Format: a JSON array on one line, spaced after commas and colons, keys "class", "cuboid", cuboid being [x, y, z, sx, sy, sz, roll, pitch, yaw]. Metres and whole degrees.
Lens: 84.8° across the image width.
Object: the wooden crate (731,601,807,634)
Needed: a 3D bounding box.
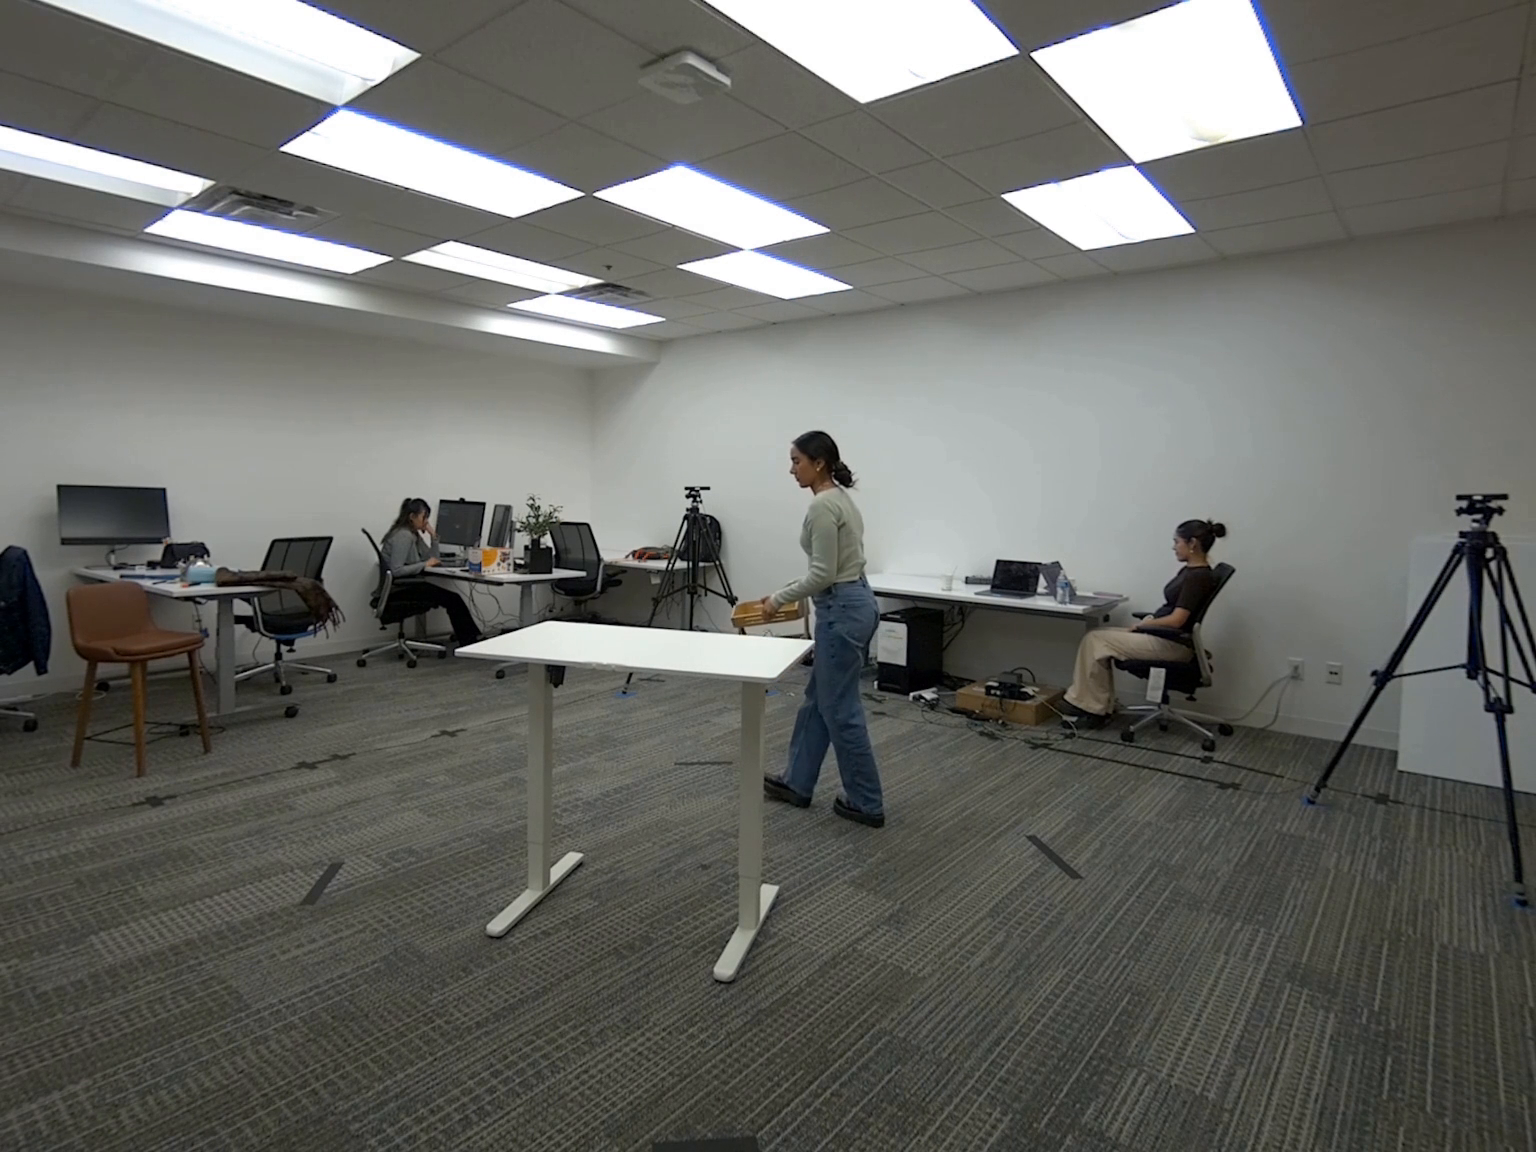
[{"class": "wooden crate", "cuboid": [0.000, 0.233, 3.701, 0.330, 0.273, 0.297, -8, 2, 17]}]
